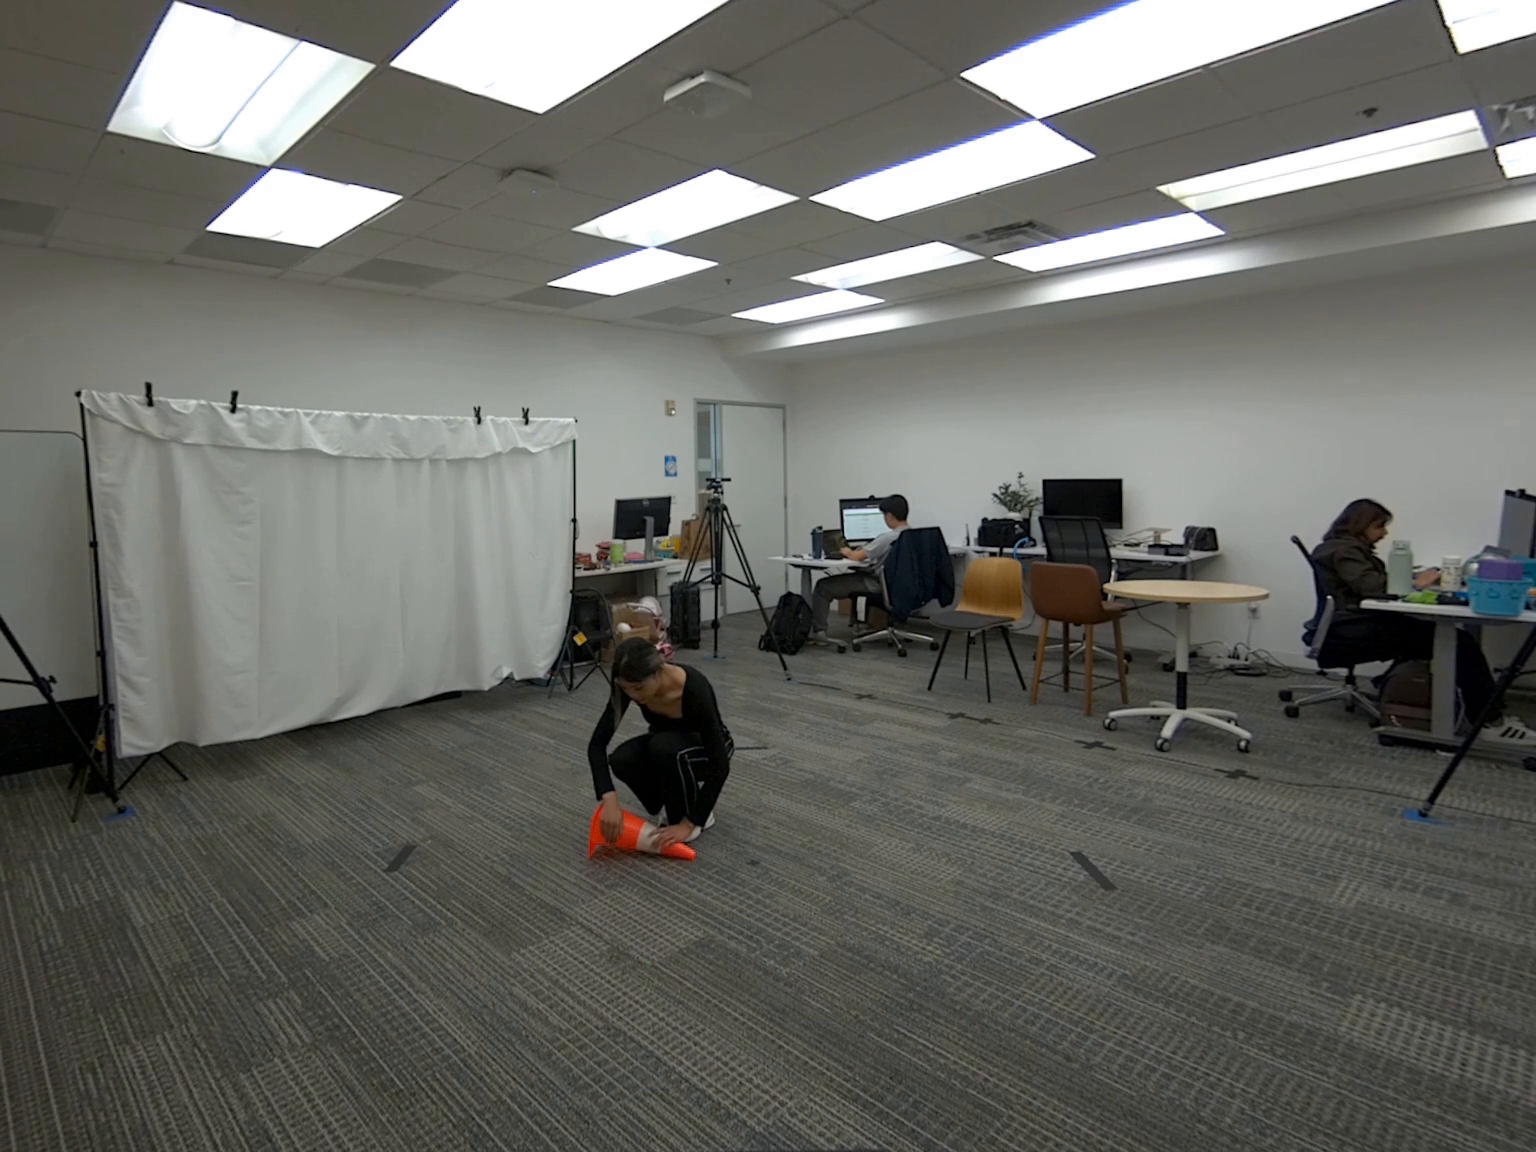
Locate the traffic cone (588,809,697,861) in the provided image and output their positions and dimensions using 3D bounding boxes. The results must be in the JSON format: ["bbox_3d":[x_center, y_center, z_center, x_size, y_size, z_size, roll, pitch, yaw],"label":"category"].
[{"bbox_3d":[-0.446,0.971,3.180,0.389,0.199,0.206,14,31,12],"label":"traffic cone"}]
